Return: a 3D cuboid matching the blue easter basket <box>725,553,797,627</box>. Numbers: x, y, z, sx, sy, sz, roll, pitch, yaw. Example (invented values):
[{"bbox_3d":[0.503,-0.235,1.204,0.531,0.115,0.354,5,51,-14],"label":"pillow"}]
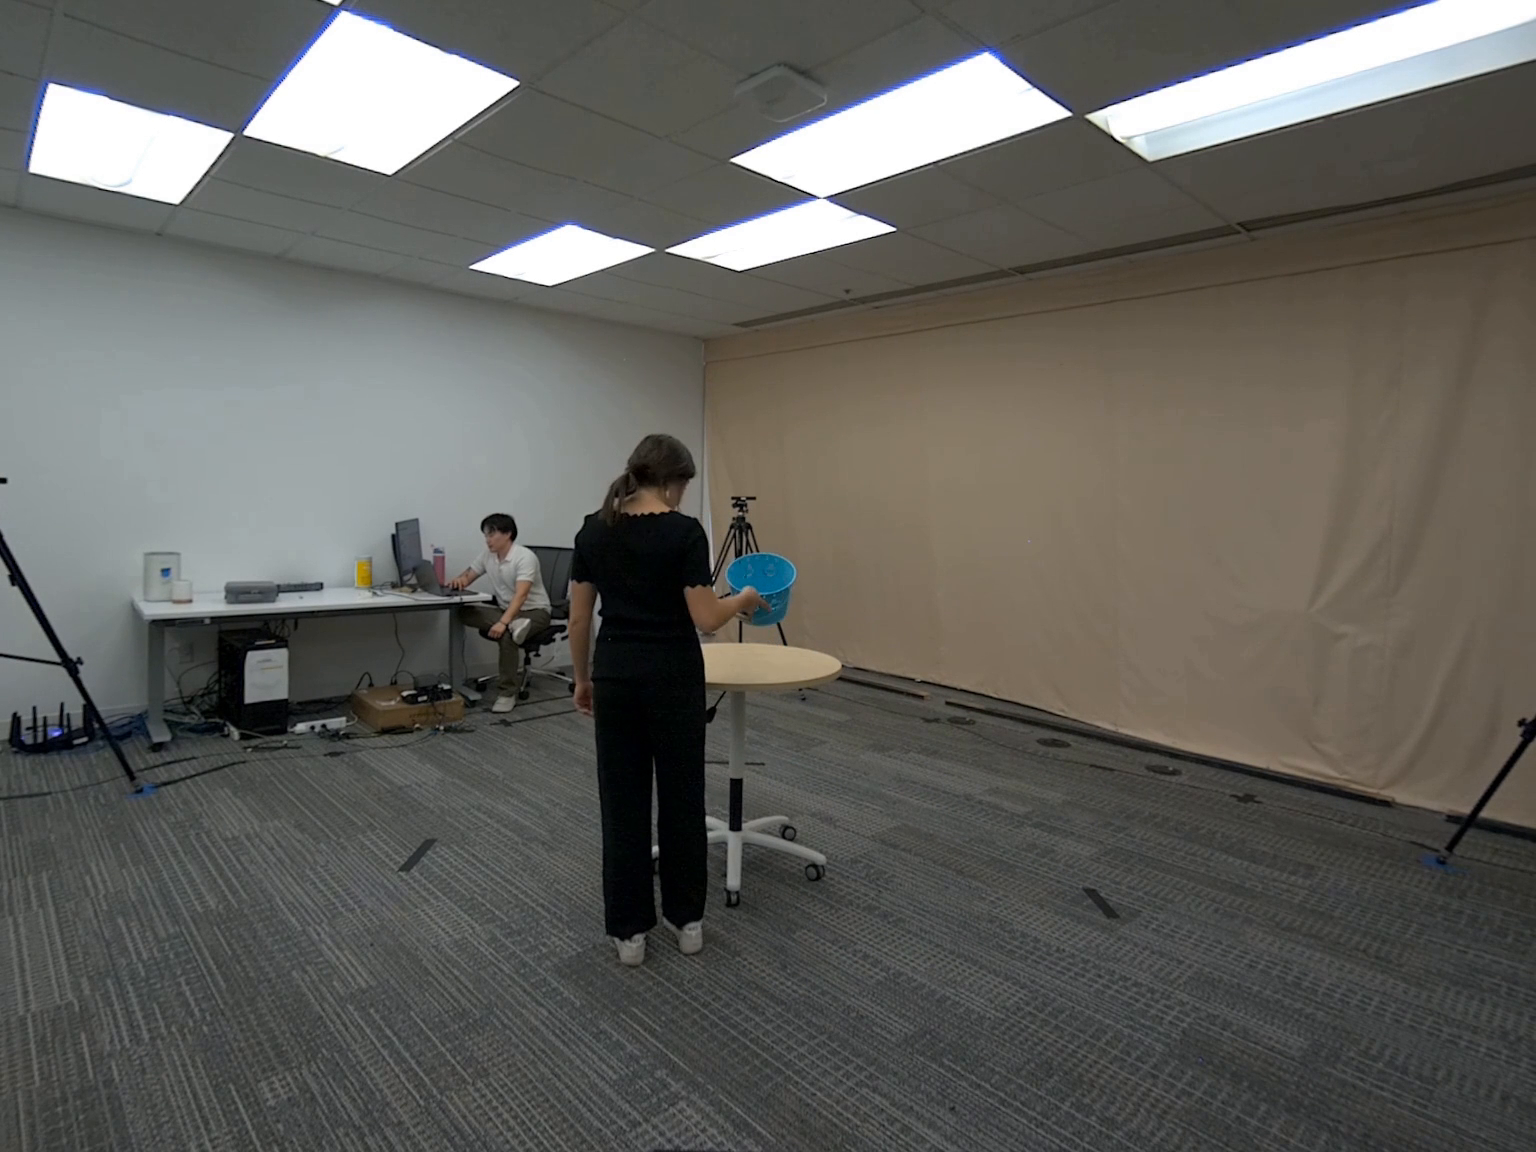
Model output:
[{"bbox_3d":[-0.035,0.058,2.803,0.243,0.152,0.249,-1,35,-1],"label":"blue easter basket"}]
